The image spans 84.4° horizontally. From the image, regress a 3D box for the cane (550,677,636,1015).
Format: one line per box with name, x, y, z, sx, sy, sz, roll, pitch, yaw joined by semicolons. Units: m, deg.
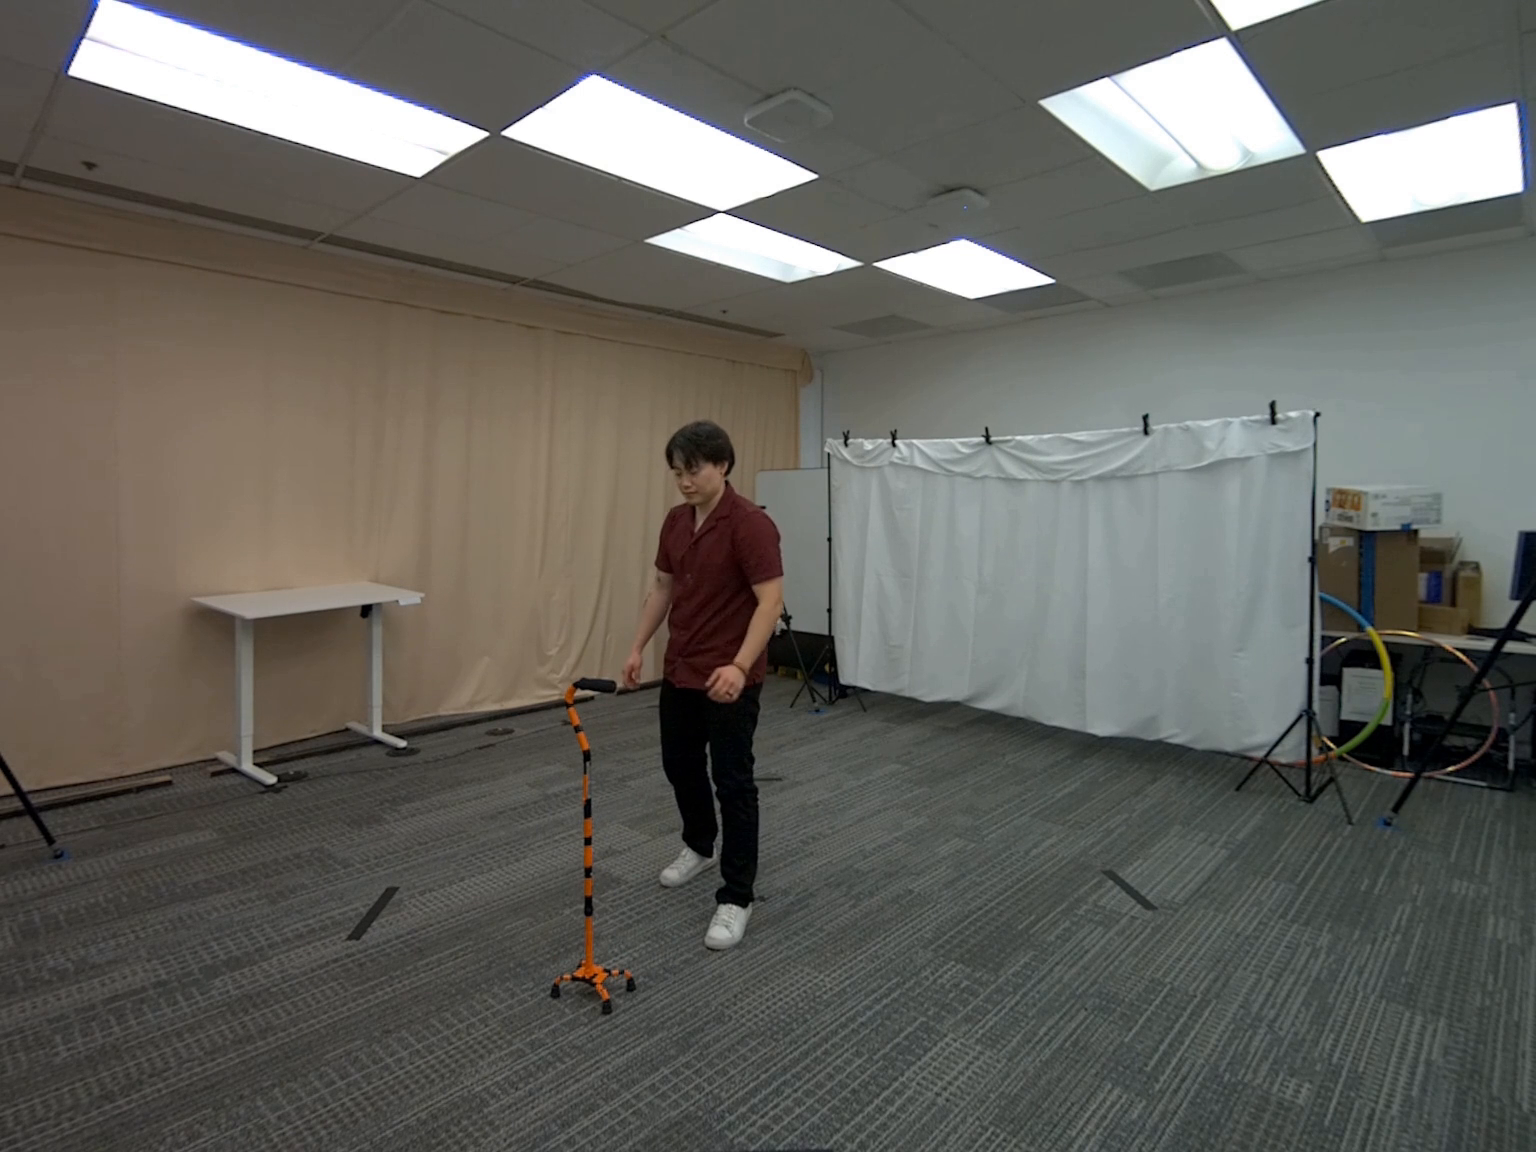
cane;-0.507;0.750;2.388;0.211;0.906;0.148;1;4;23
